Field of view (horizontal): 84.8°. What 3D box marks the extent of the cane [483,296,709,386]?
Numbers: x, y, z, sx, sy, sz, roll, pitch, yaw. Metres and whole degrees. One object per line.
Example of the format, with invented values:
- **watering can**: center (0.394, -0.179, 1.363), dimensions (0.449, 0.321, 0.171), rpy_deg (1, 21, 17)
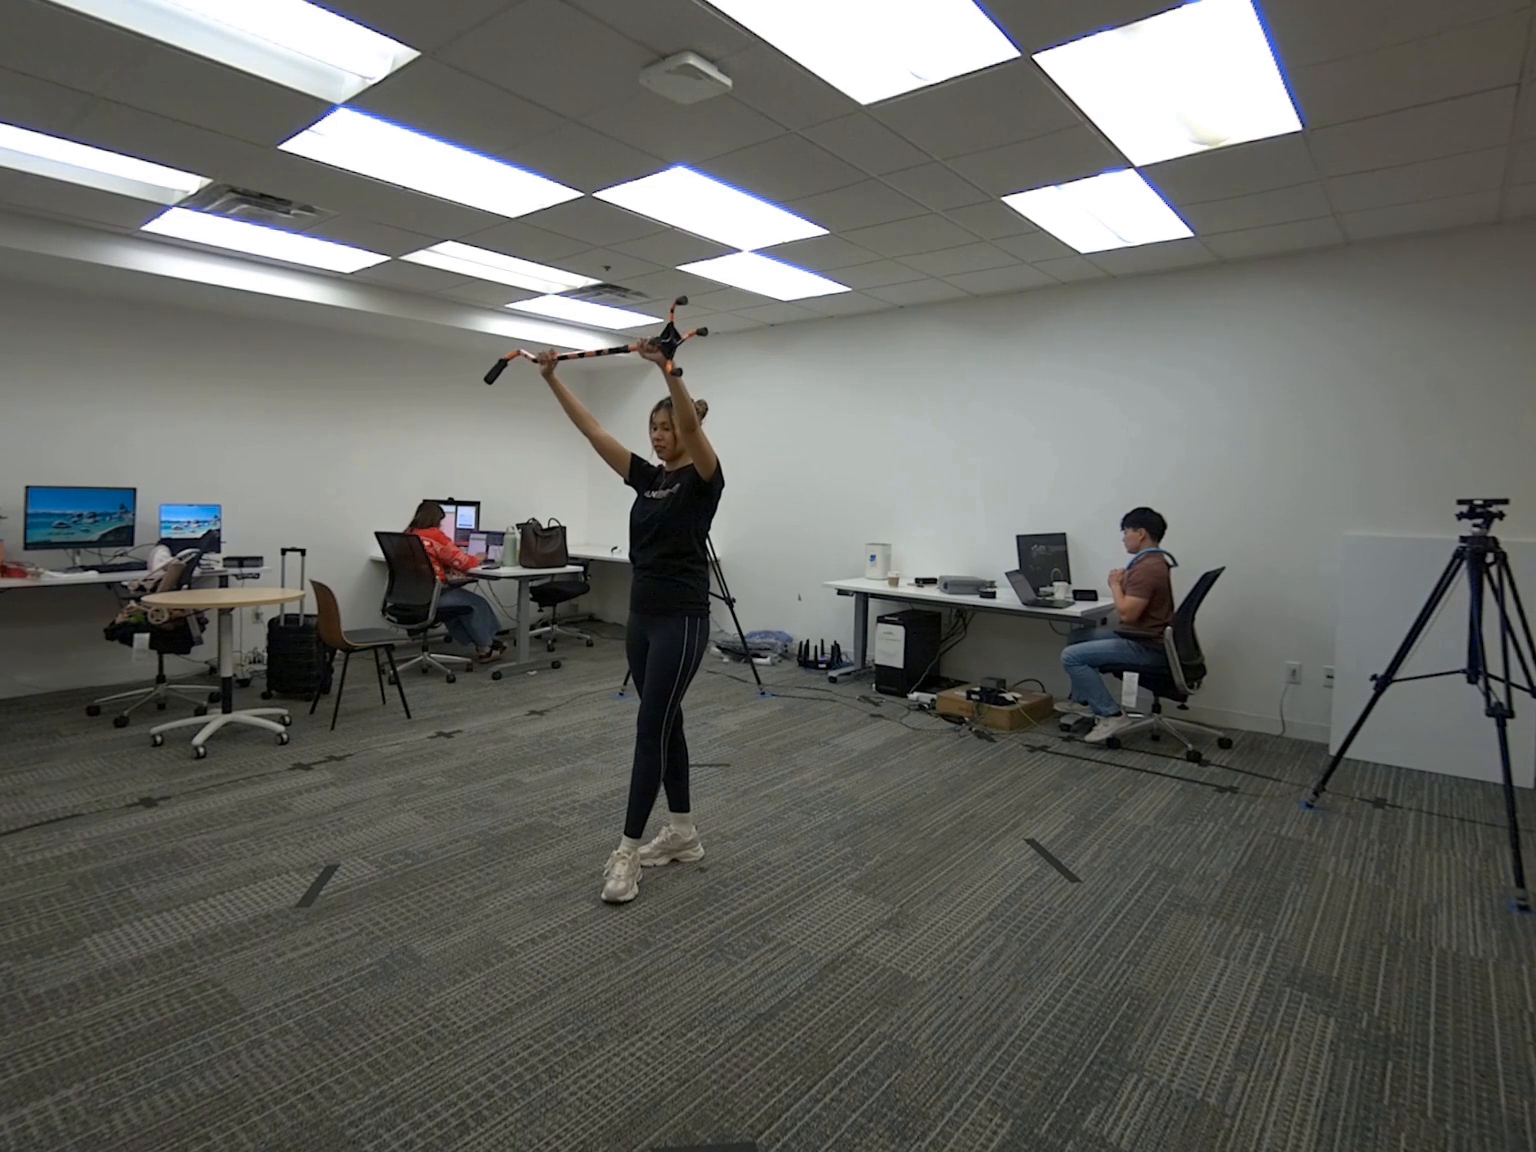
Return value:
- **cane**: center (-0.632, -0.748, 2.815), dimensions (0.938, 0.208, 0.145), rpy_deg (6, -35, 38)
